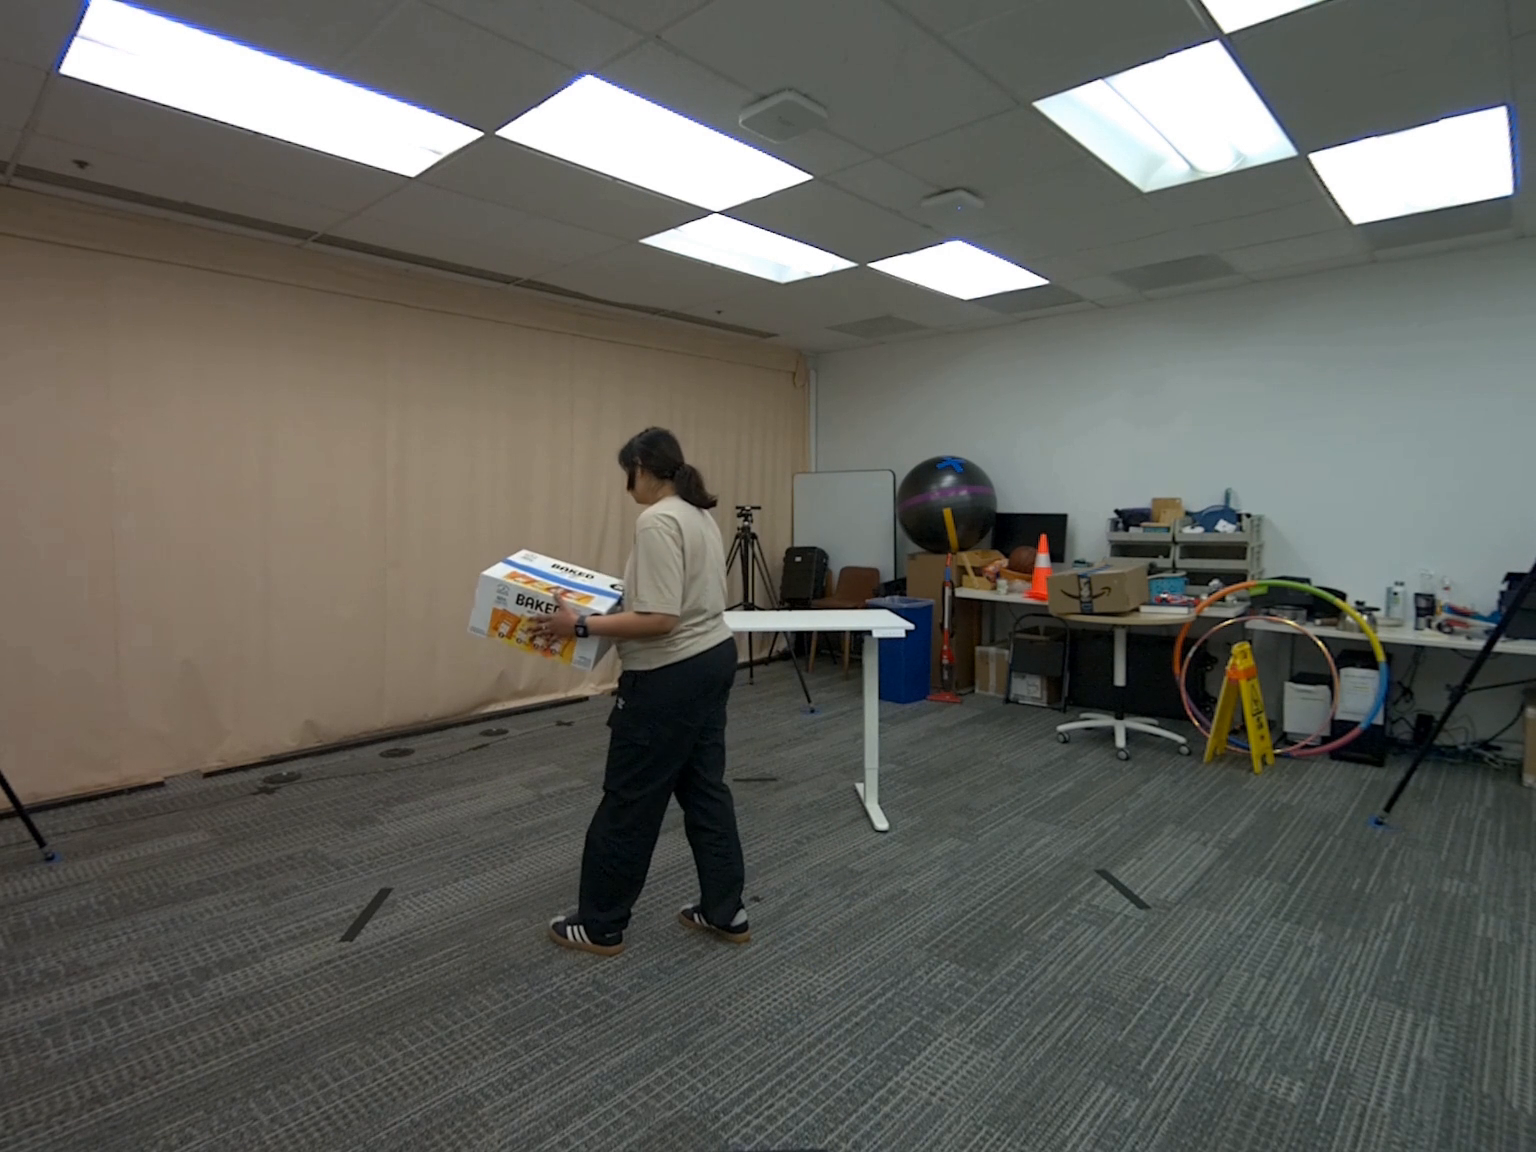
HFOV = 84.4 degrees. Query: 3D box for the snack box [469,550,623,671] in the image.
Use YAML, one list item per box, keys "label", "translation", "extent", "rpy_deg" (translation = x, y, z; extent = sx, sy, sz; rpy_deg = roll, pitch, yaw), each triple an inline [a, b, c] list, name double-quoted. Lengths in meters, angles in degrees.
- label: "snack box"
  translation: [-0.686, 0.089, 2.703]
  extent: [0.408, 0.205, 0.340]
  rpy_deg: [17, 12, 4]
